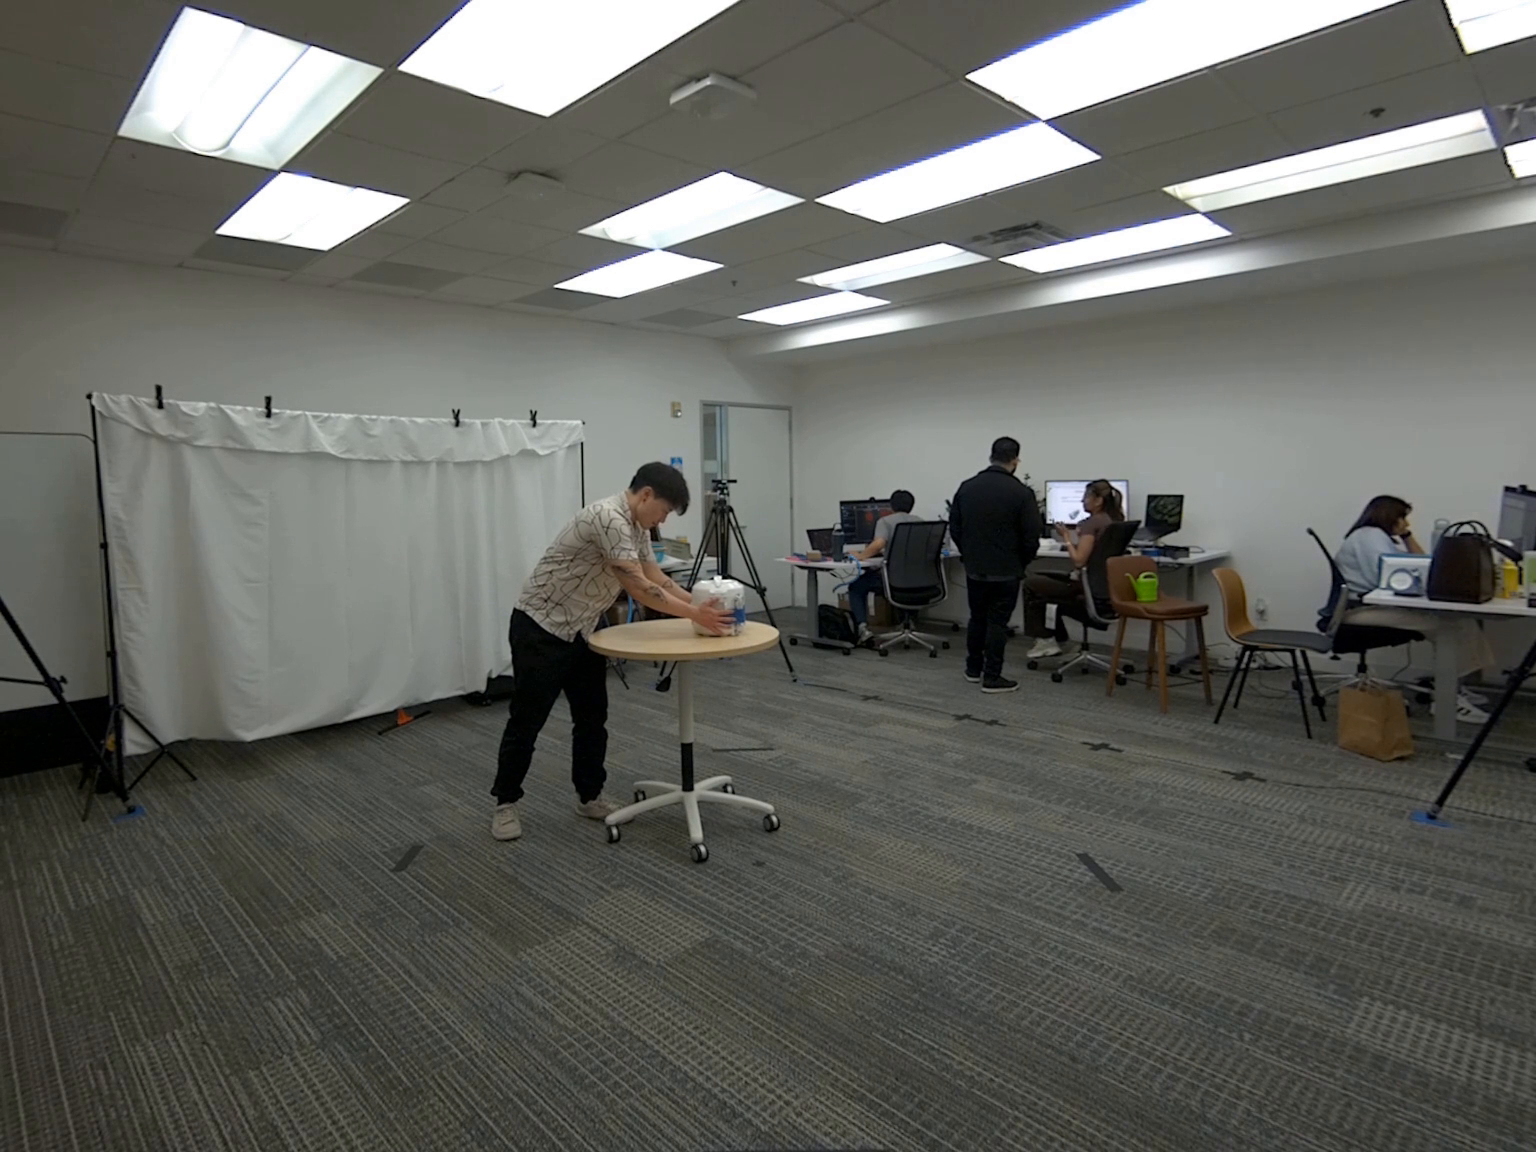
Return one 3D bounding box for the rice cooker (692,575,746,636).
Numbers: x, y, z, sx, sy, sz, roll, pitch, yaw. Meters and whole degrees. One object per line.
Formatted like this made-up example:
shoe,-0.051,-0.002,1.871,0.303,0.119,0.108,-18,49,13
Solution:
rice cooker,-0.203,0.114,3.433,0.217,0.232,0.221,0,4,-2
